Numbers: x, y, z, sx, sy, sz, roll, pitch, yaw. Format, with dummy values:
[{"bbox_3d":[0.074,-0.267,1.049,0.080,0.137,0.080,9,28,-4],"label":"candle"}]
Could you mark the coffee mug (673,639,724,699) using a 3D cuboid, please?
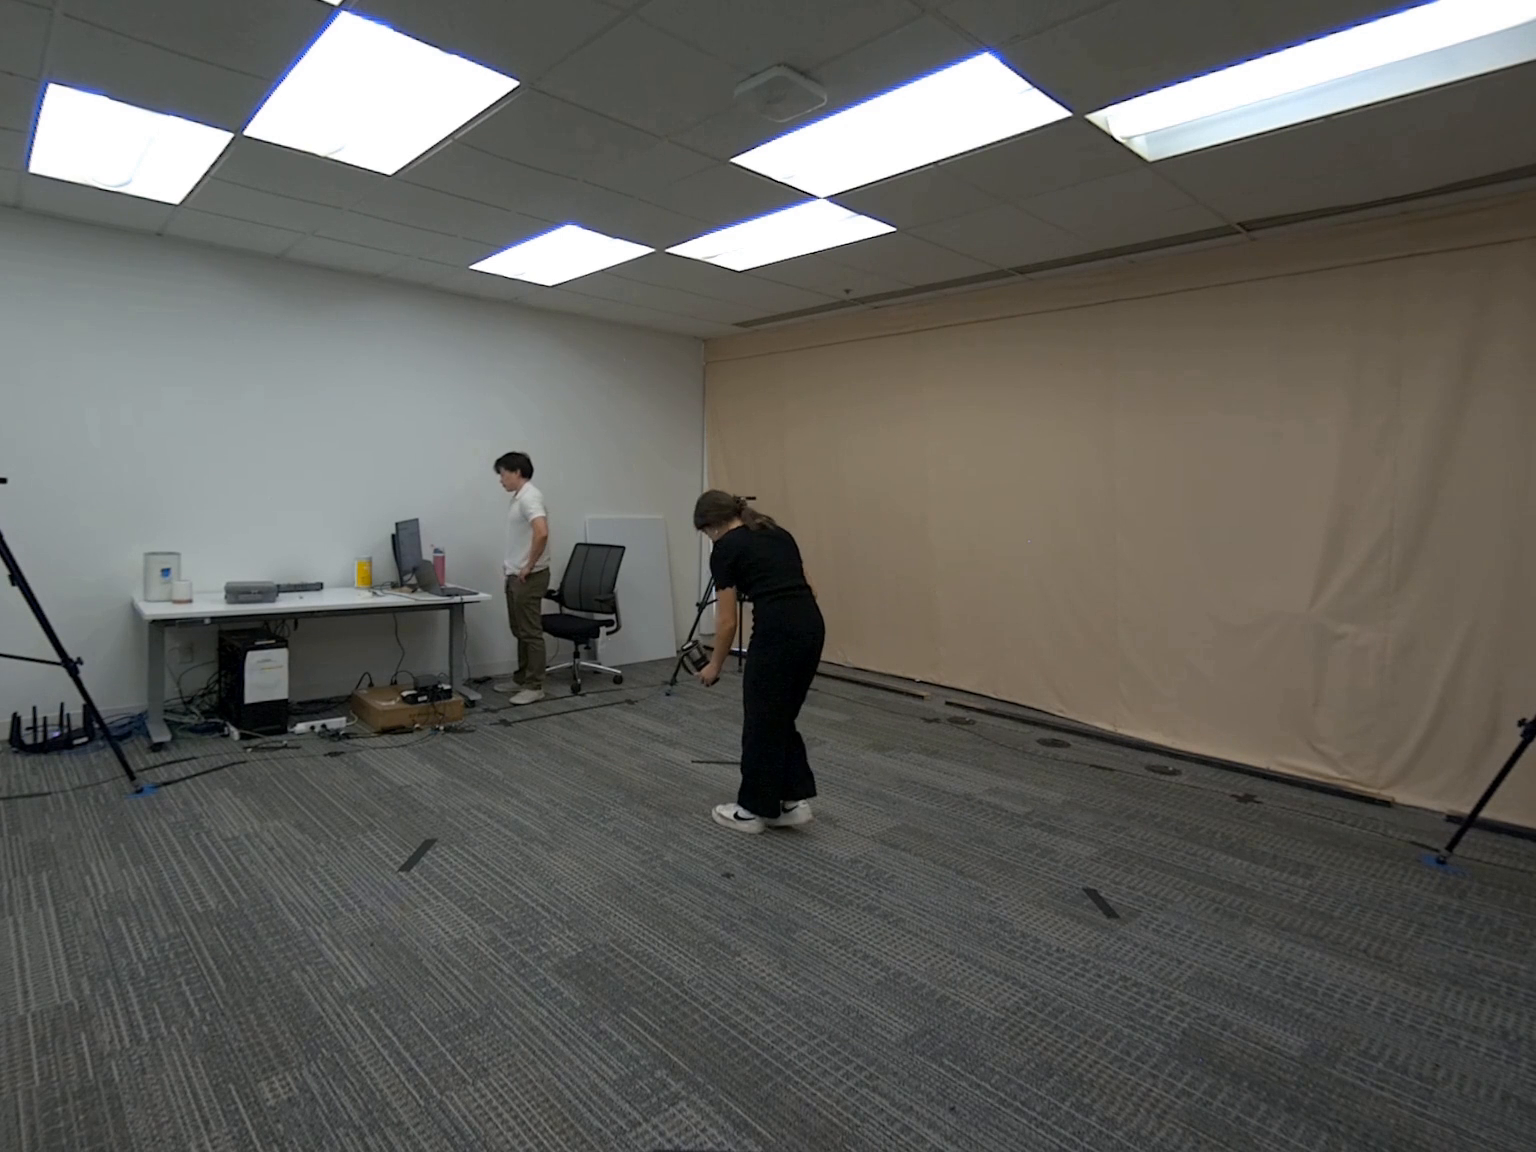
[{"bbox_3d":[-0.300,0.395,3.621,0.121,0.201,0.089,-29,9,-14],"label":"coffee mug"}]
